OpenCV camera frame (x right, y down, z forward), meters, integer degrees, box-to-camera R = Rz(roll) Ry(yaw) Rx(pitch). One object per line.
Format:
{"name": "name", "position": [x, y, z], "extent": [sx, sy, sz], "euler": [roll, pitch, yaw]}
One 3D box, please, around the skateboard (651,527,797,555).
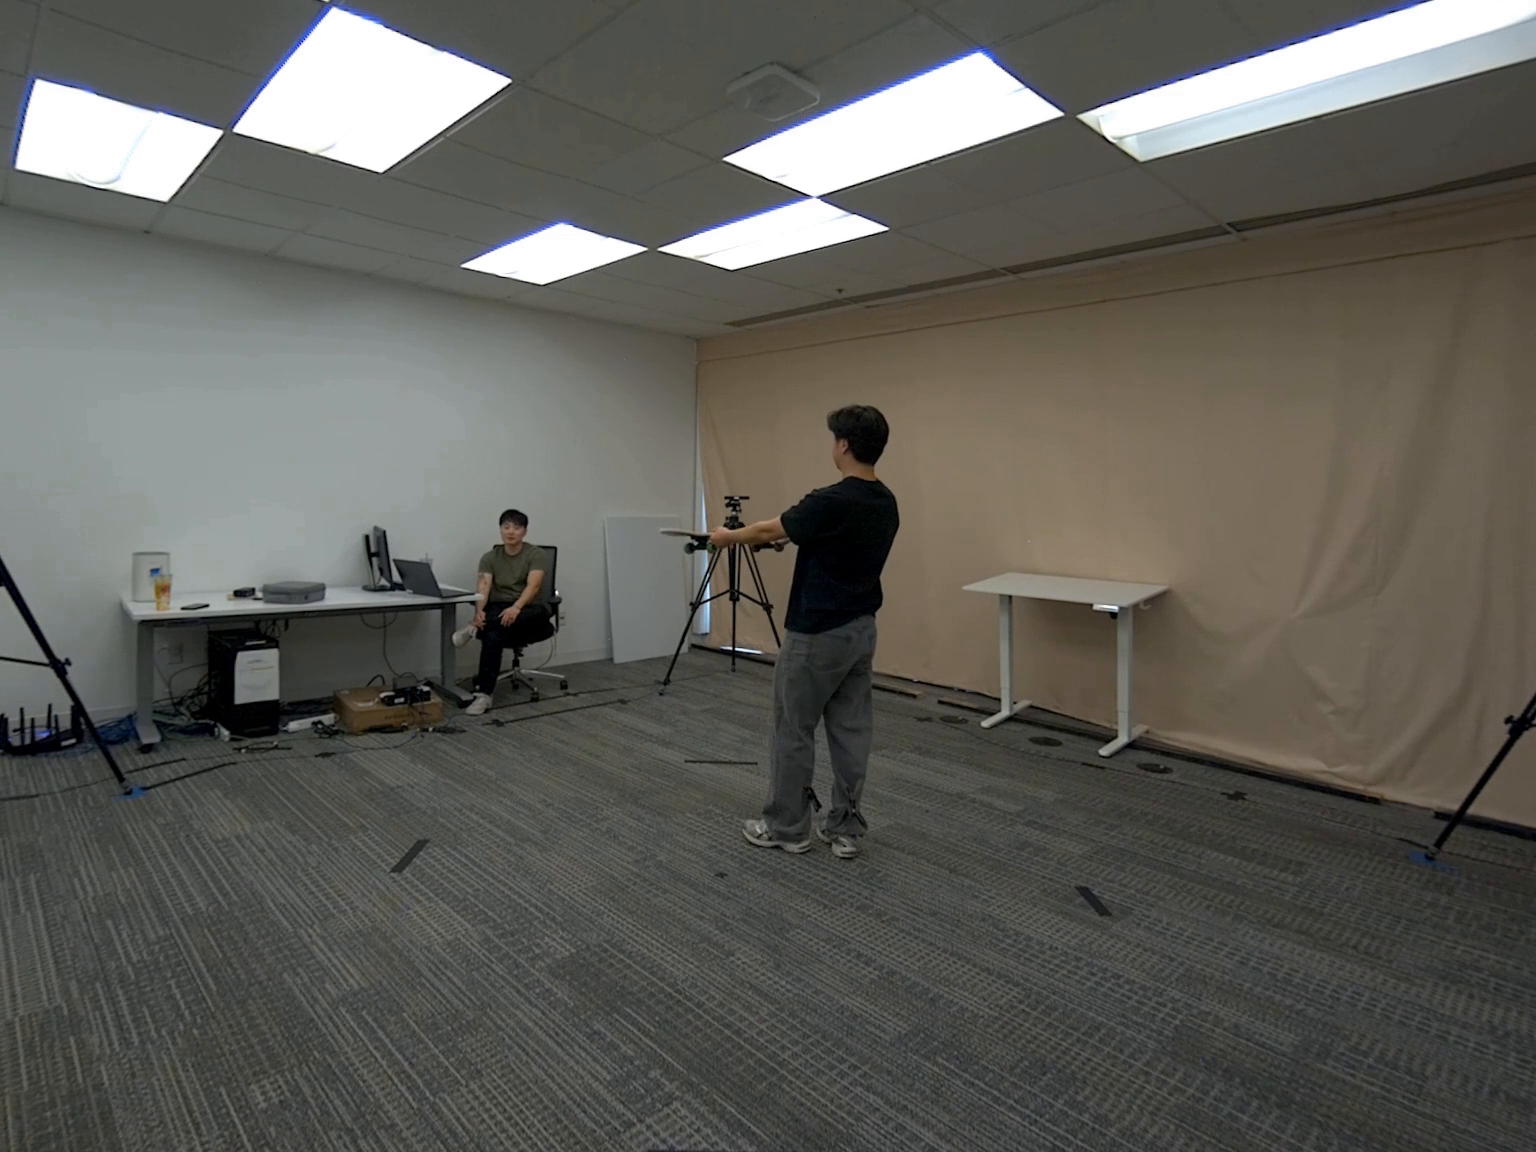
{"name": "skateboard", "position": [-0.144, -0.154, 3.754], "extent": [0.767, 0.110, 0.198], "euler": [-2, 2, -43]}
